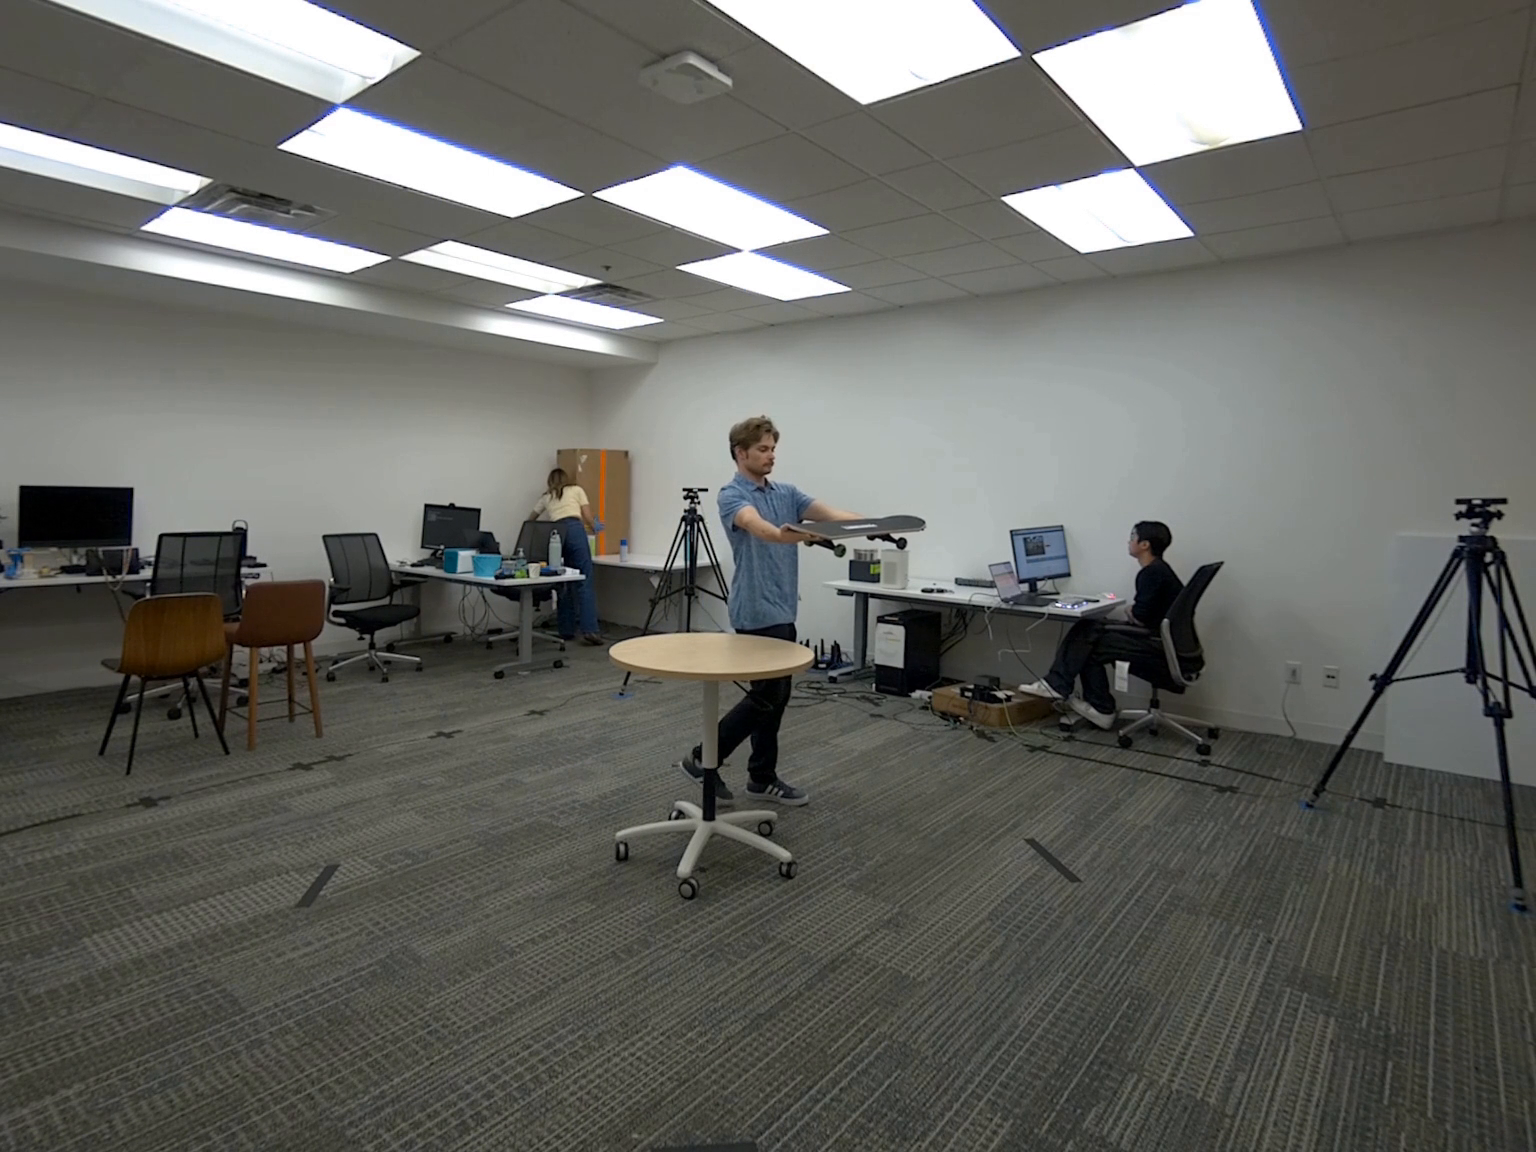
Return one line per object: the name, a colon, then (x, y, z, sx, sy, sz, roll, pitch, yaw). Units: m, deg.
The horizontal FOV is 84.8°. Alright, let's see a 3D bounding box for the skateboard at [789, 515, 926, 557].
skateboard: (0.351, -0.166, 3.387, 0.763, 0.109, 0.201, -7, 24, -44)
